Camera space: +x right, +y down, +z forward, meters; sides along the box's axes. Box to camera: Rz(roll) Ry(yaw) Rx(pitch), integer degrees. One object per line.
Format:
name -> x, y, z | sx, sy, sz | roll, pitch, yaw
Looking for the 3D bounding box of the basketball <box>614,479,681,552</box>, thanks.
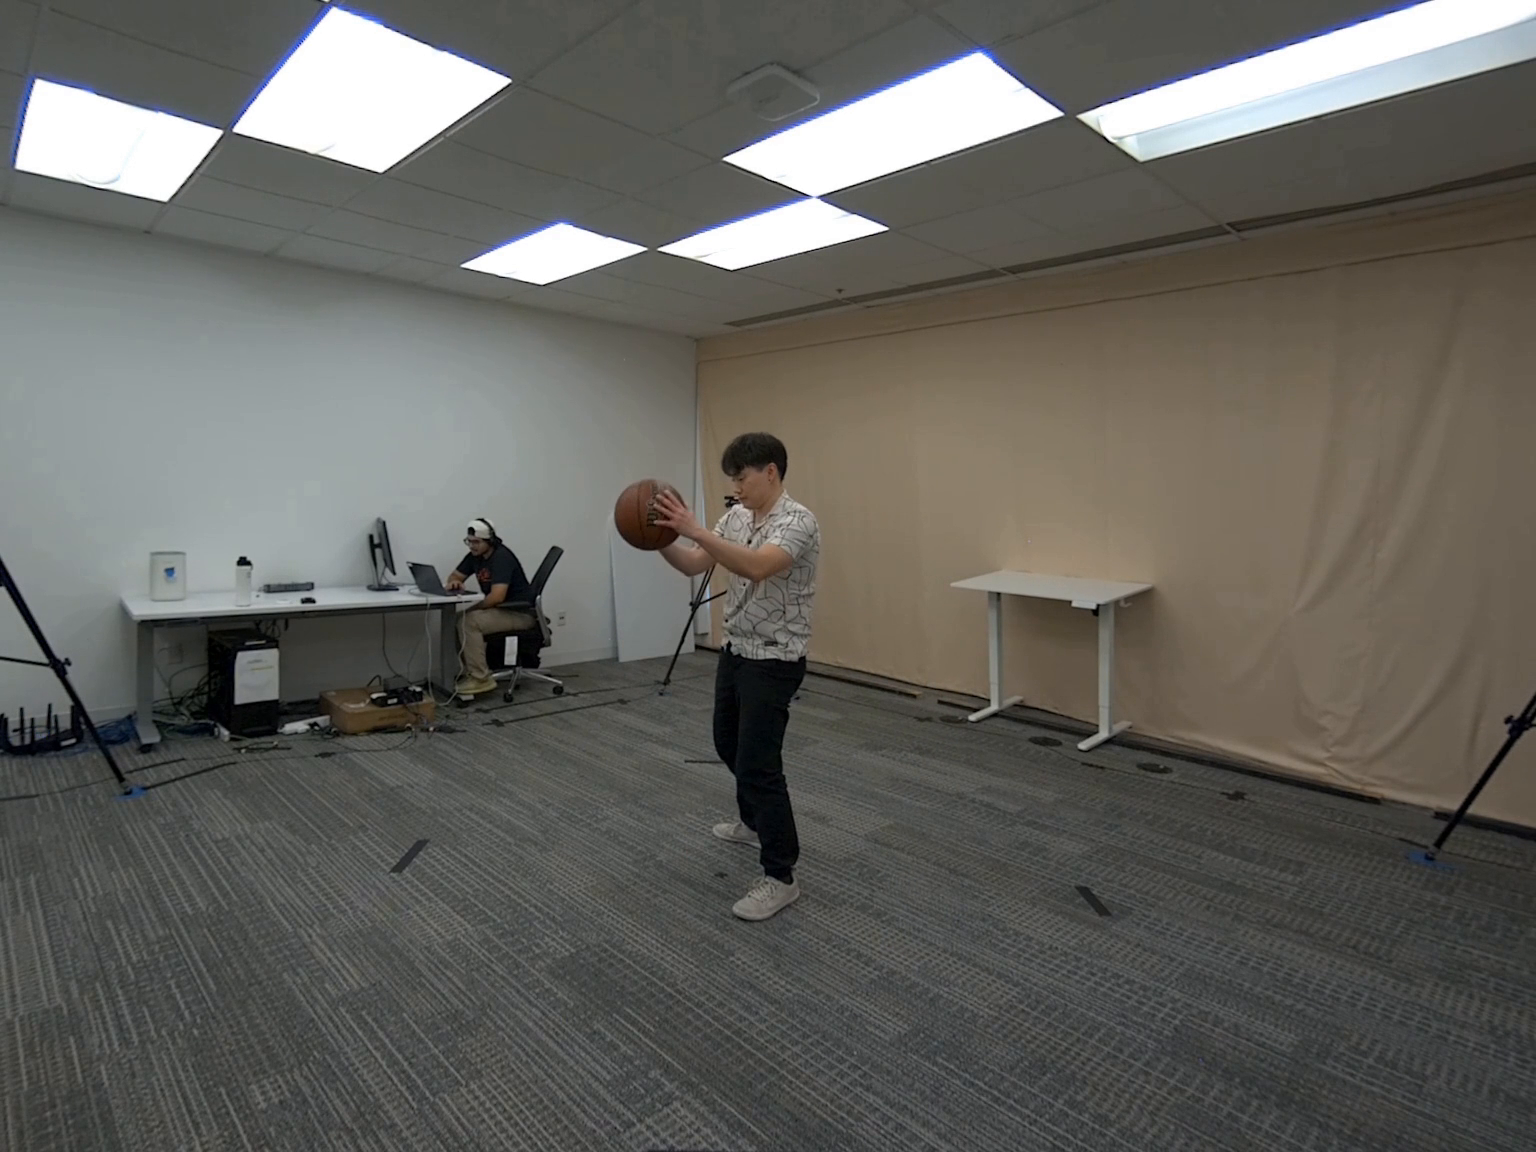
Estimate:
basketball -> -0.397, -0.192, 2.795 | 0.236, 0.235, 0.237 | 1, 4, -1
